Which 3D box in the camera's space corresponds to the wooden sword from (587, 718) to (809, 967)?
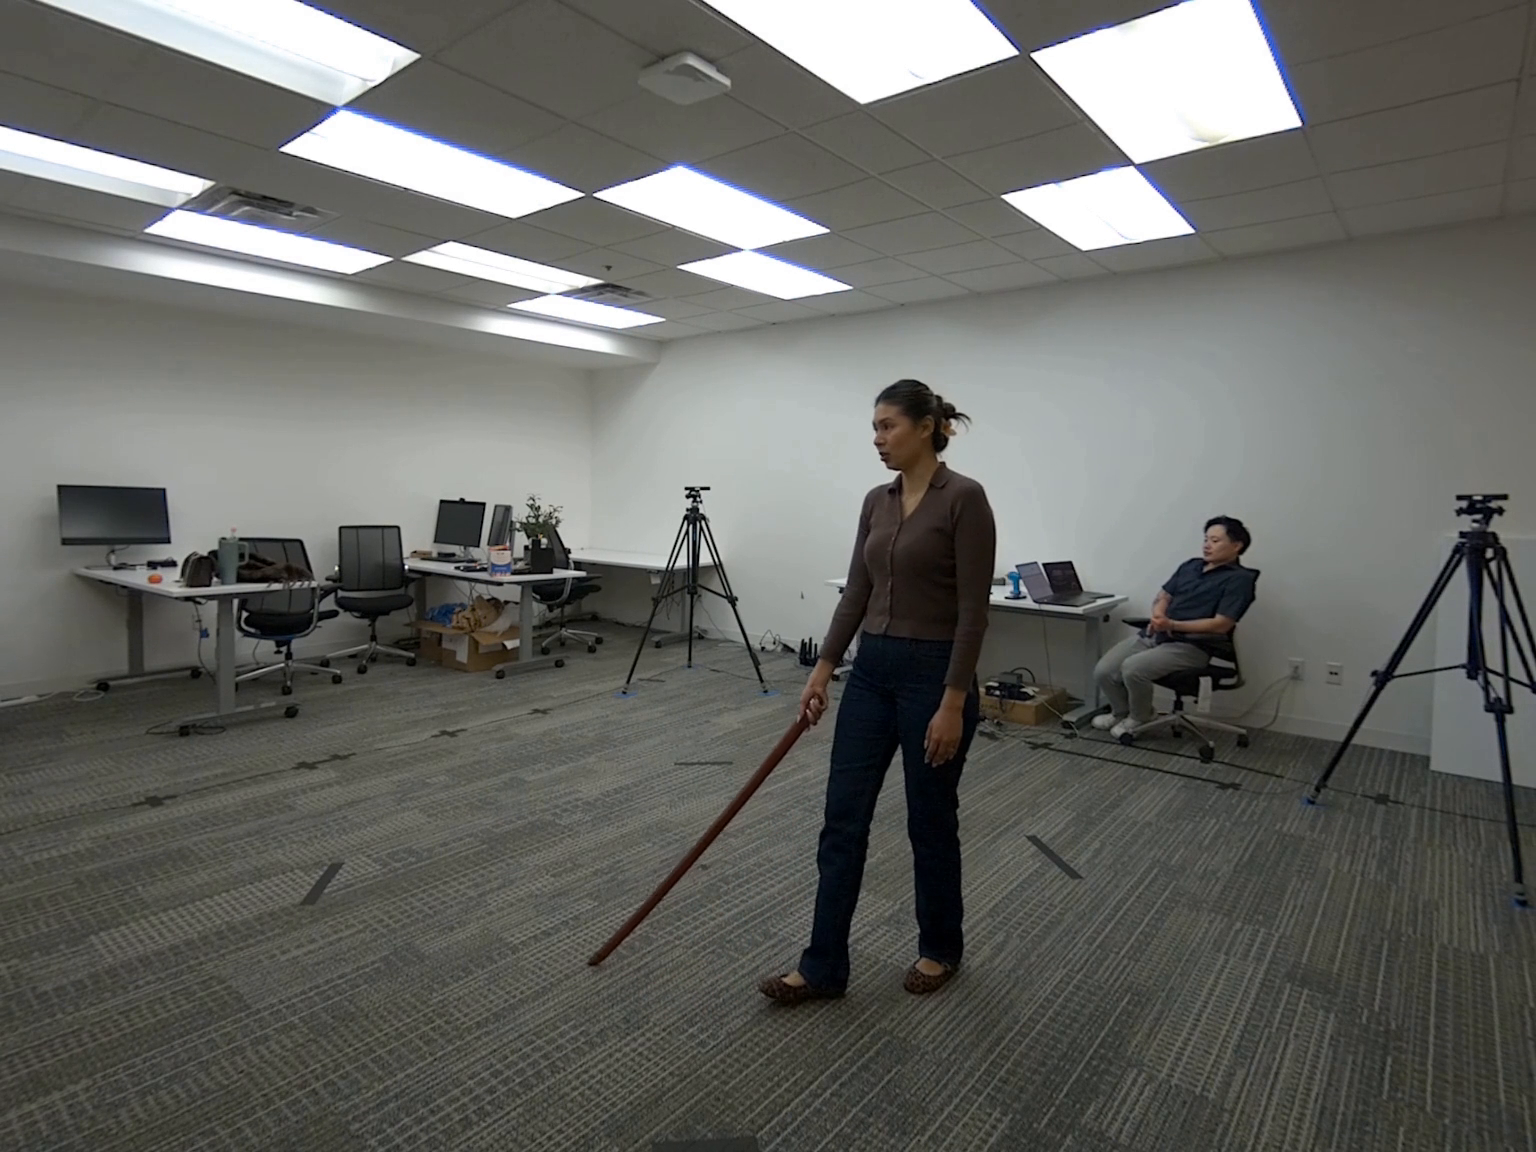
[{"bbox_3d":[-0.188,0.763,2.438,0.023,1.025,0.053,41,2,-30],"label":"wooden sword"}]
